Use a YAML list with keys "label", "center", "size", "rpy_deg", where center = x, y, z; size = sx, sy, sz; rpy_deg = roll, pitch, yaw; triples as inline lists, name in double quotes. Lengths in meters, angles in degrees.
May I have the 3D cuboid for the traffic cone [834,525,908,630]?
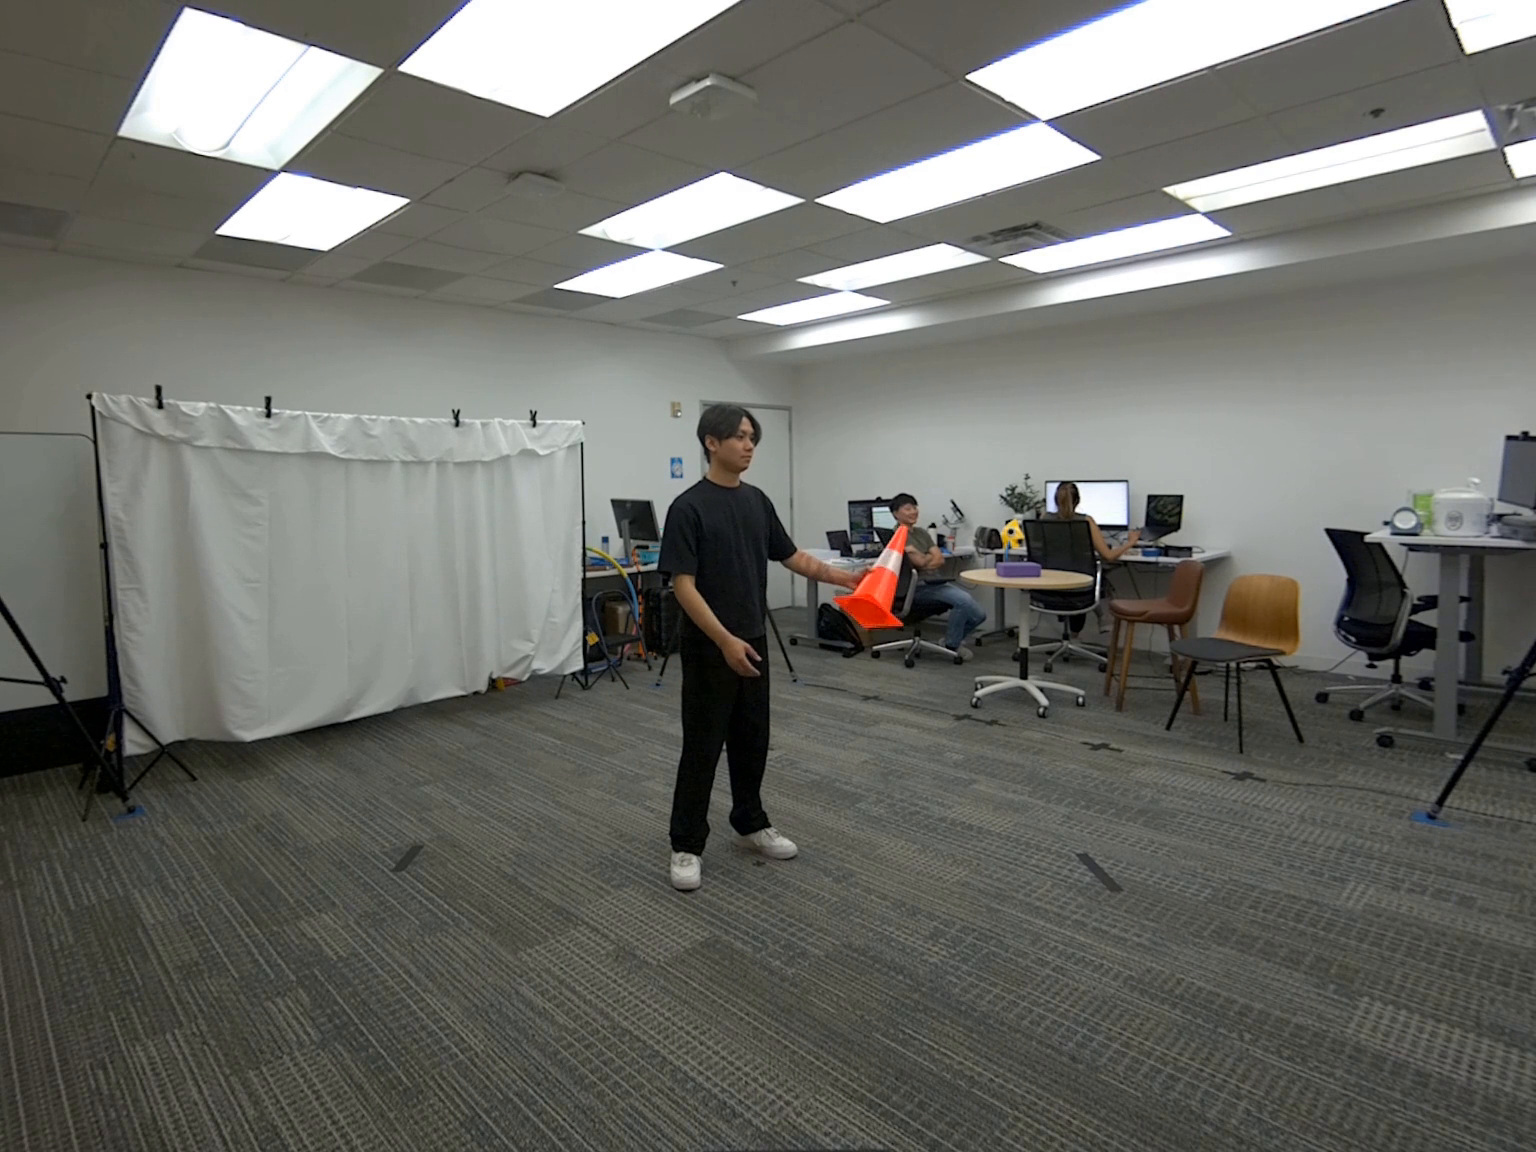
- label: "traffic cone"
  center: [0.436, -0.023, 3.146]
  size: [0.209, 0.386, 0.198]
  rpy_deg: [1, -37, 47]
